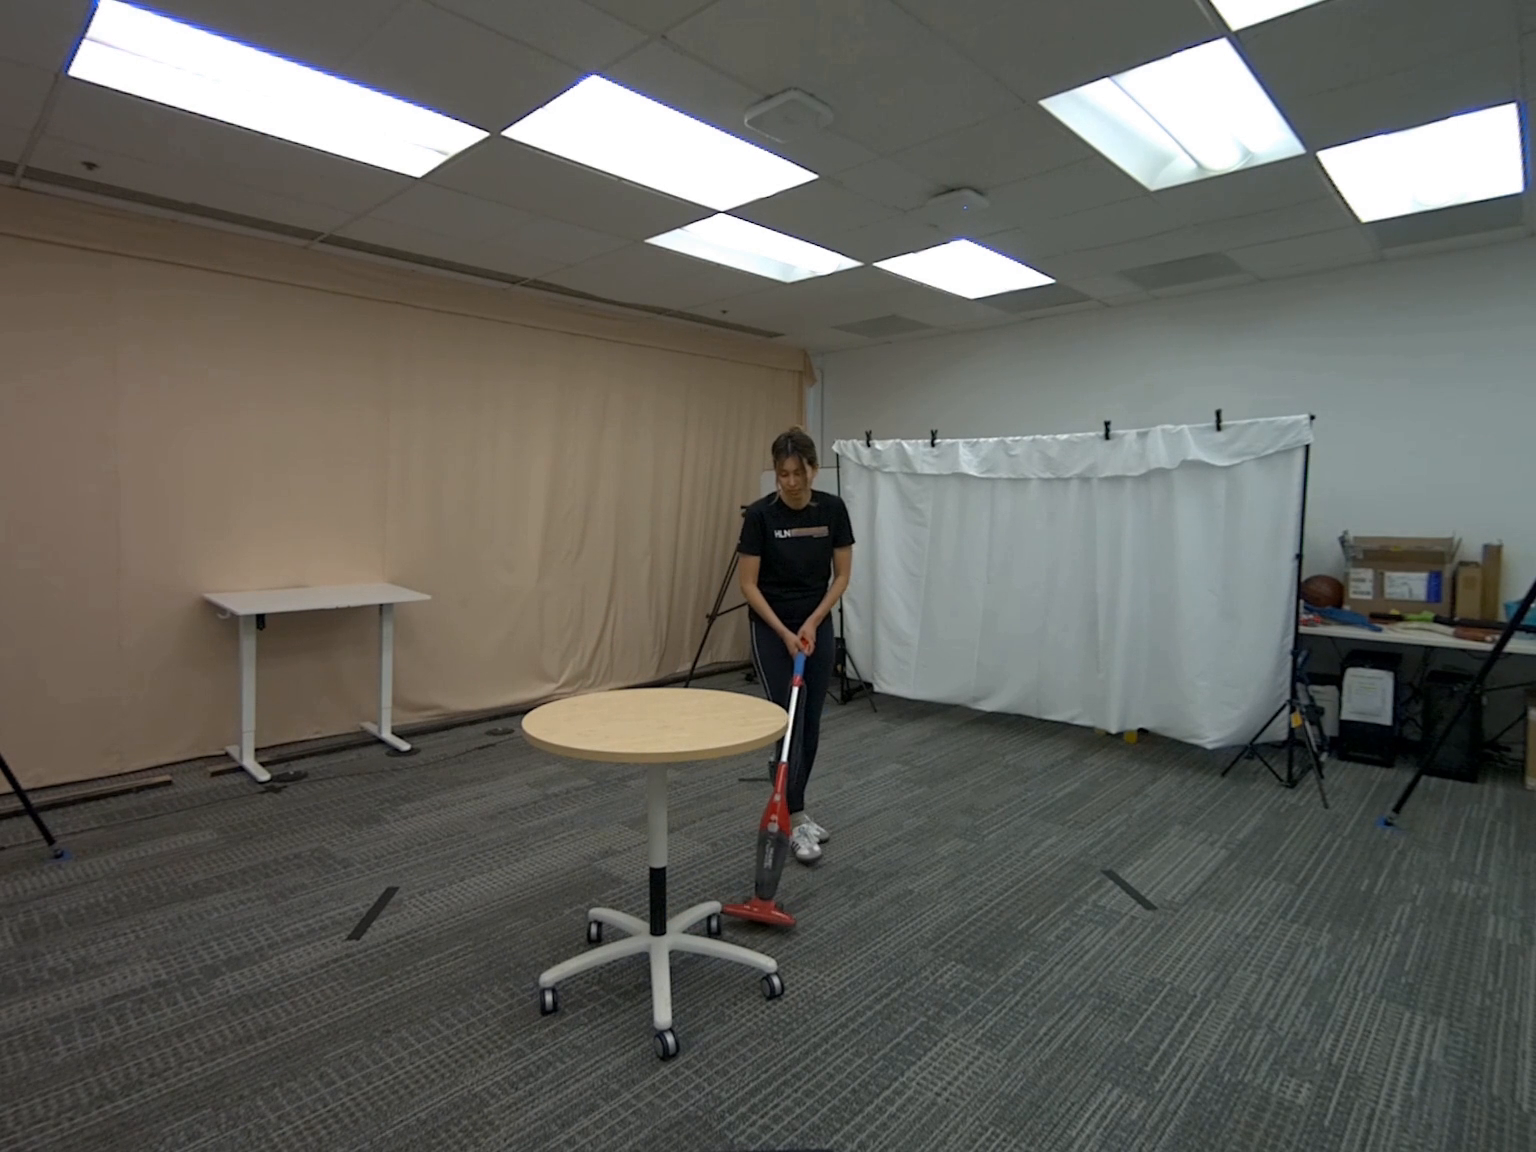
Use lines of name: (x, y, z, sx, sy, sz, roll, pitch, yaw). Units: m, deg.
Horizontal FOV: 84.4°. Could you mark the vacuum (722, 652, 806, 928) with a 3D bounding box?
vacuum: (0.068, 0.703, 3.078, 0.256, 1.060, 0.140, 4, -33, 11)
